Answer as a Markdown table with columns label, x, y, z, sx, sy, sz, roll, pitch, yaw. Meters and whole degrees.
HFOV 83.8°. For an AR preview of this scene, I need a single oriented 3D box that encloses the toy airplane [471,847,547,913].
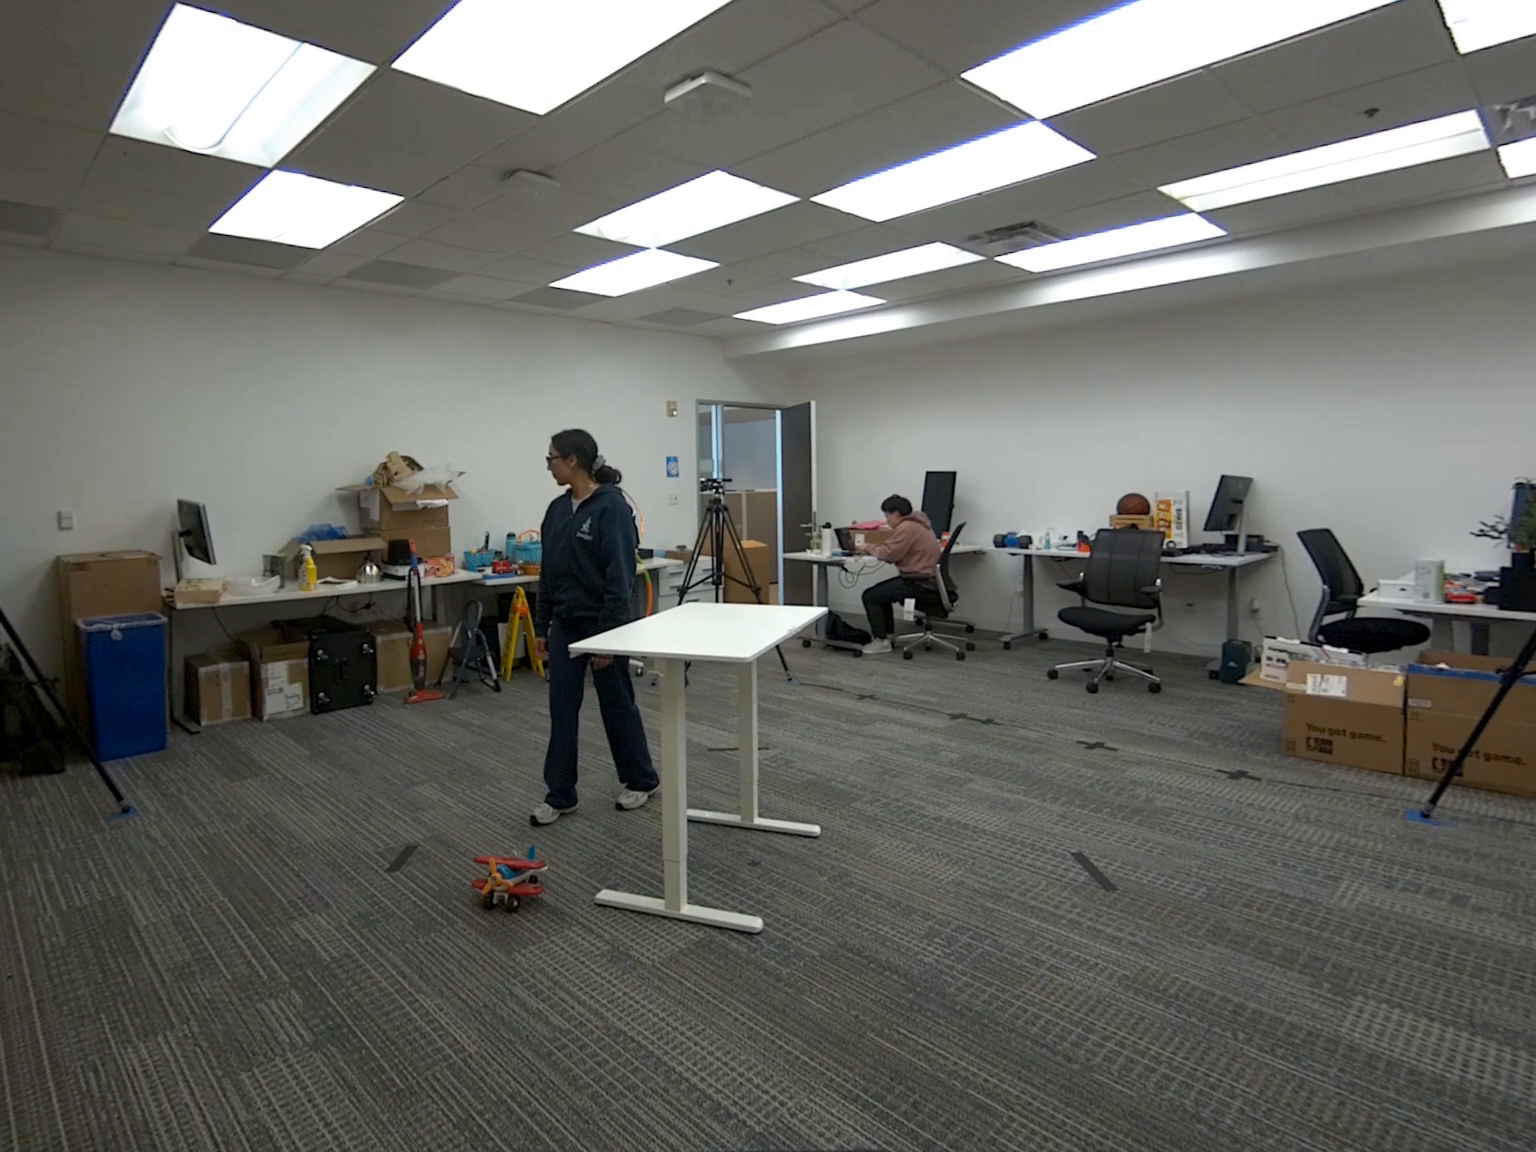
| label | x | y | z | sx | sy | sz | roll | pitch | yaw |
| --- | --- | --- | --- | --- | --- | --- | --- | --- | --- |
| toy airplane | -0.873 | 1.015 | 2.876 | 0.248 | 0.155 | 0.264 | -3 | 8 | -12 |
